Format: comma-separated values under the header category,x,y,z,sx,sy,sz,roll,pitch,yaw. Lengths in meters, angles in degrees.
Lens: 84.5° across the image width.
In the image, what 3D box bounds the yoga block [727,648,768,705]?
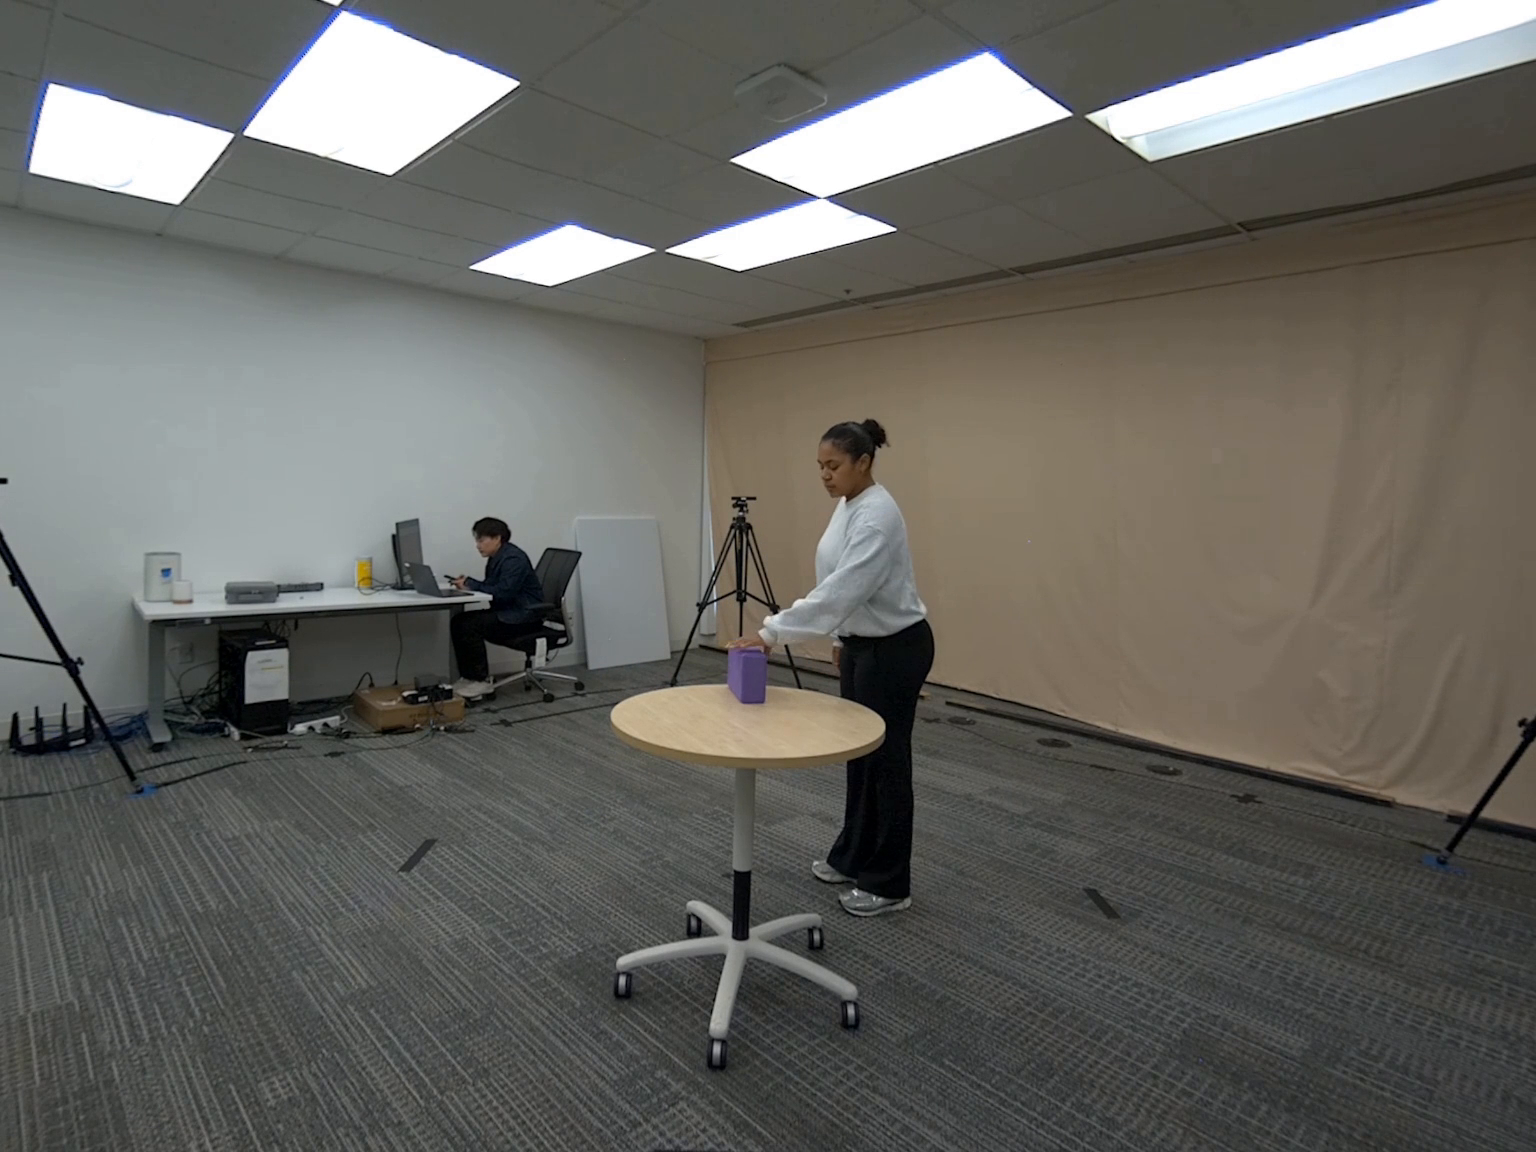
category,x,y,z,sx,sy,sz,roll,pitch,yaw
yoga block,-0.073,0.298,2.601,0.076,0.148,0.232,0,5,-12
